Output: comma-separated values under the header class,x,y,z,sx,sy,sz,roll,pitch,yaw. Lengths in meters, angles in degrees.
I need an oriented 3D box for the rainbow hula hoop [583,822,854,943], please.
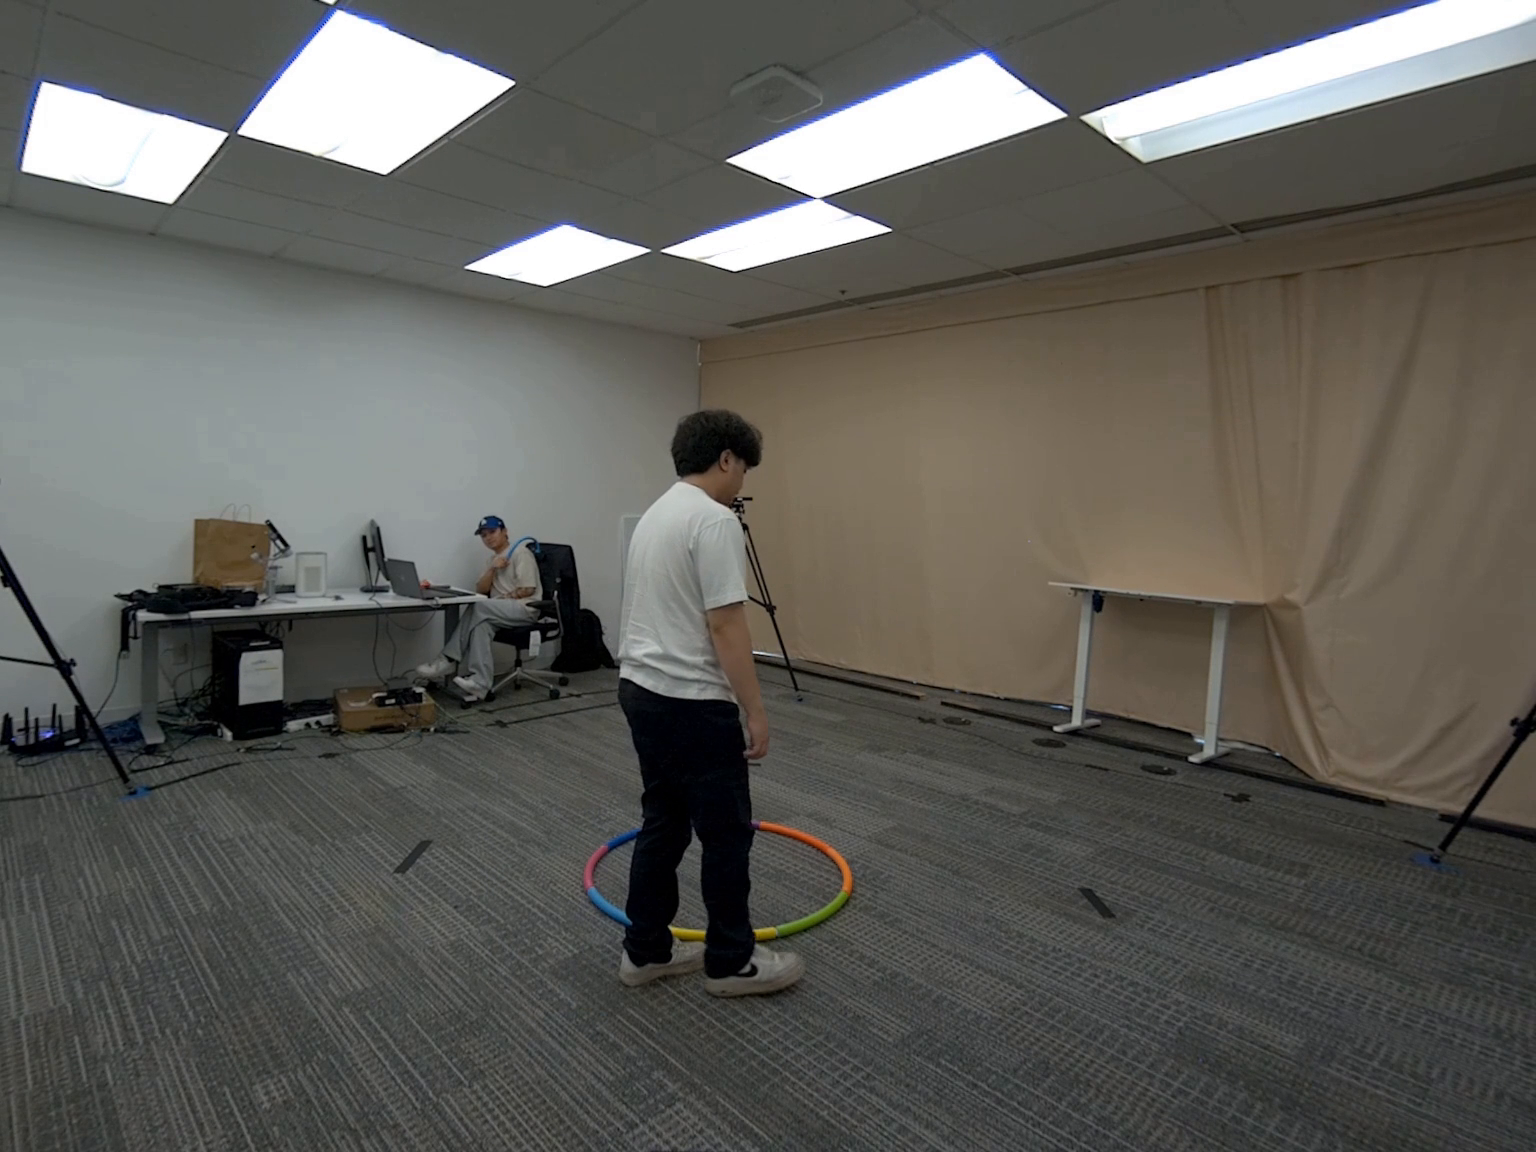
class,x,y,z,sx,sy,sz,roll,pitch,yaw
rainbow hula hoop,-0.192,1.081,3.105,0.985,0.051,0.989,1,5,-1
